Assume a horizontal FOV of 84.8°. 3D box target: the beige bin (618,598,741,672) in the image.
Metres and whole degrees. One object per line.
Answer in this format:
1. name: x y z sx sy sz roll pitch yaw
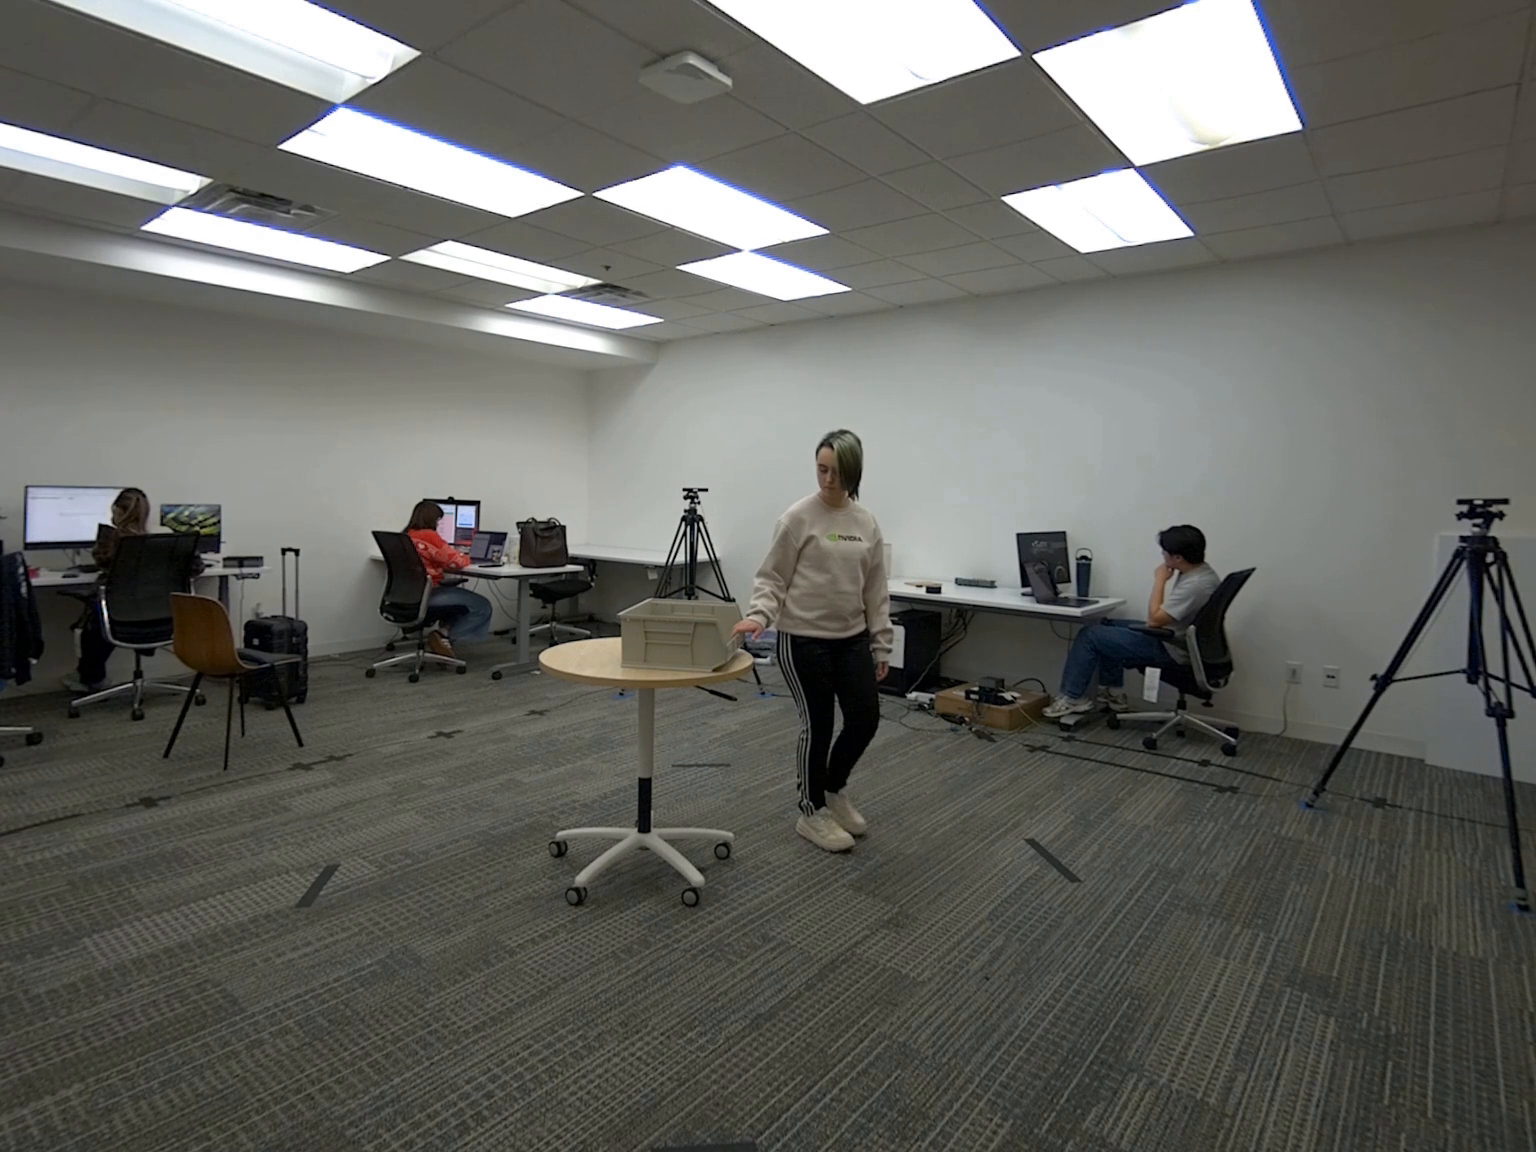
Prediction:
1. beige bin: -0.305 0.200 3.024 0.382 0.188 0.419 0 6 9
